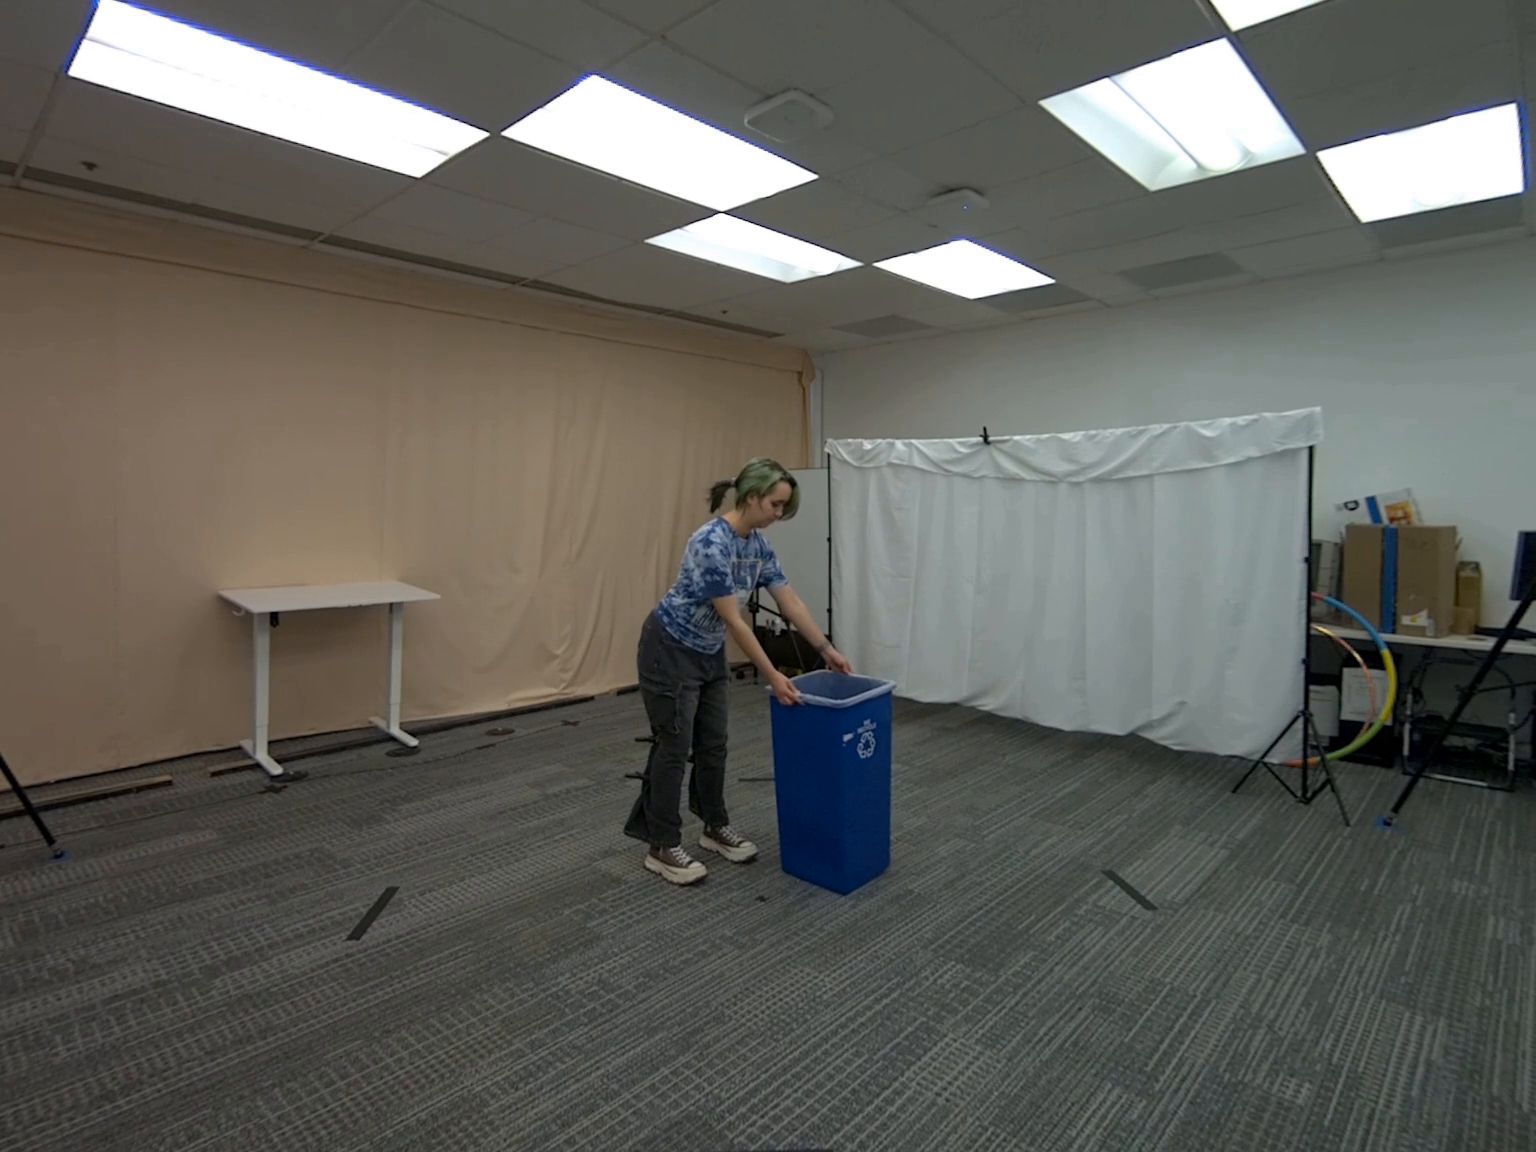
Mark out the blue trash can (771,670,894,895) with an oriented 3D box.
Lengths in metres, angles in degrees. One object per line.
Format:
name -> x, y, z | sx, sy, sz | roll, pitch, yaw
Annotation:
blue trash can -> 0.244, 0.760, 3.170 | 0.391, 0.711, 0.363 | 3, 7, 43
